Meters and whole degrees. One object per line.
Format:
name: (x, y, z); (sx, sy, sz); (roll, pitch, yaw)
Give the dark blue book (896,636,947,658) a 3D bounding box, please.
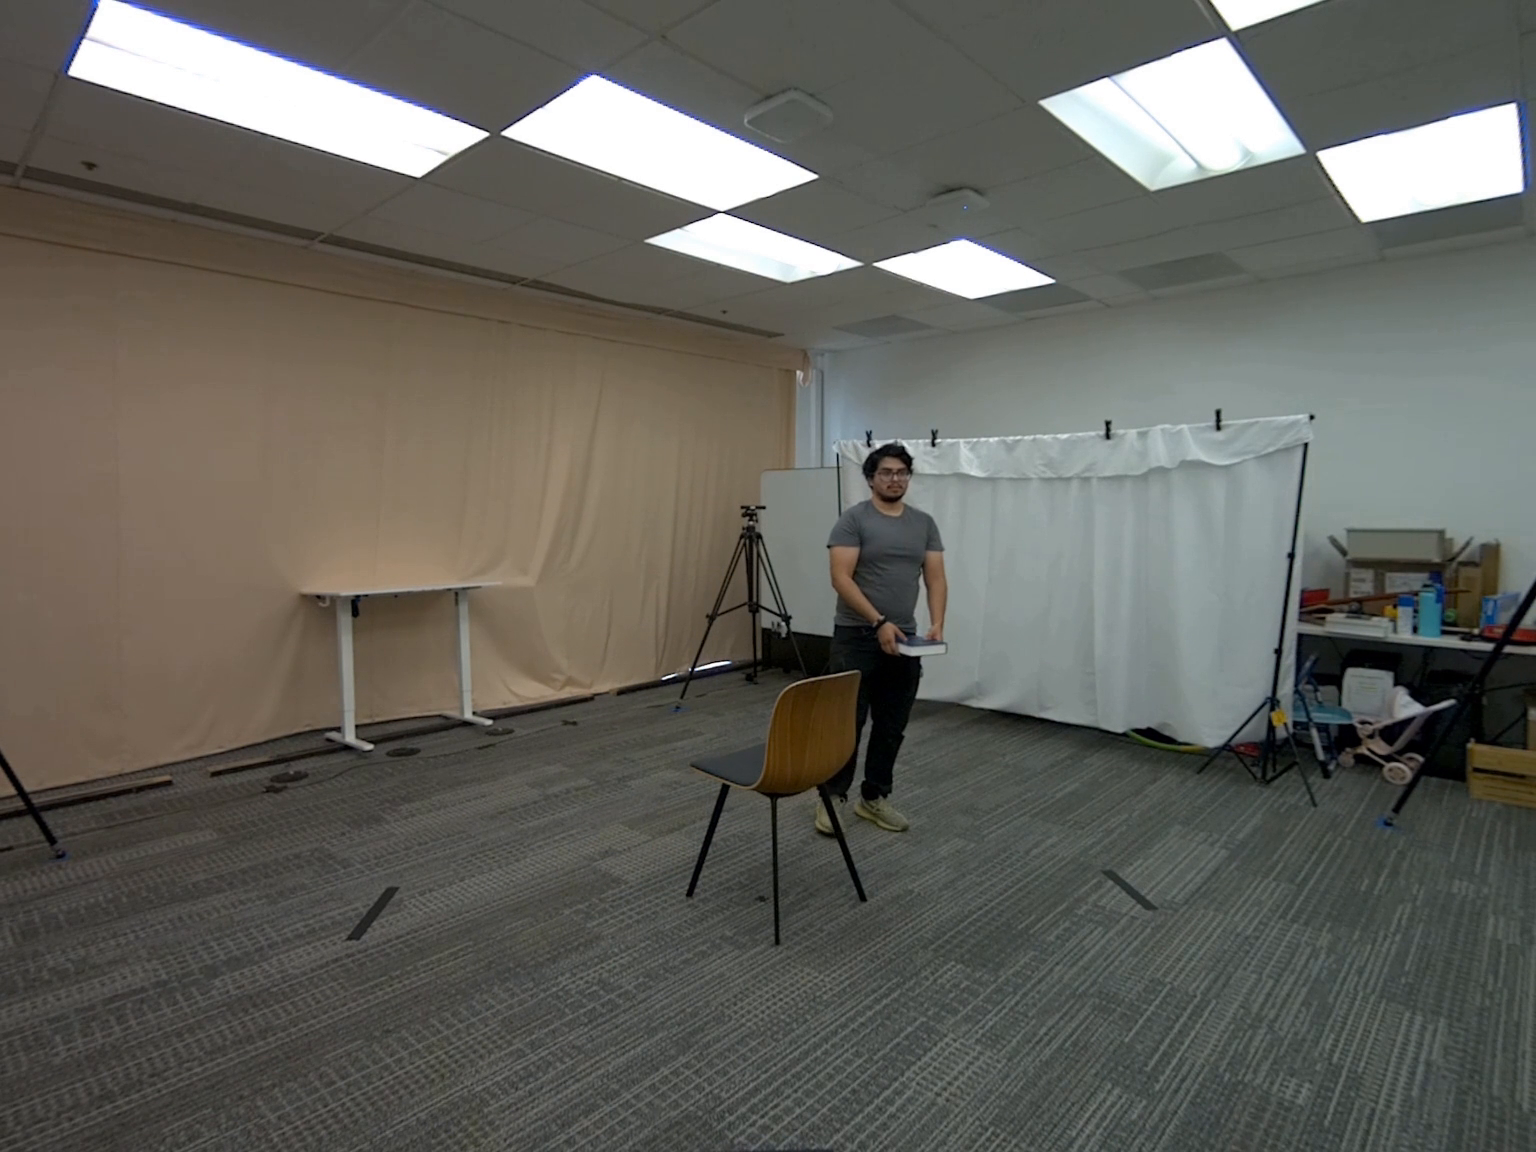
dark blue book: (0.602, 0.282, 3.397); (0.162, 0.045, 0.248); (-2, 3, -11)
